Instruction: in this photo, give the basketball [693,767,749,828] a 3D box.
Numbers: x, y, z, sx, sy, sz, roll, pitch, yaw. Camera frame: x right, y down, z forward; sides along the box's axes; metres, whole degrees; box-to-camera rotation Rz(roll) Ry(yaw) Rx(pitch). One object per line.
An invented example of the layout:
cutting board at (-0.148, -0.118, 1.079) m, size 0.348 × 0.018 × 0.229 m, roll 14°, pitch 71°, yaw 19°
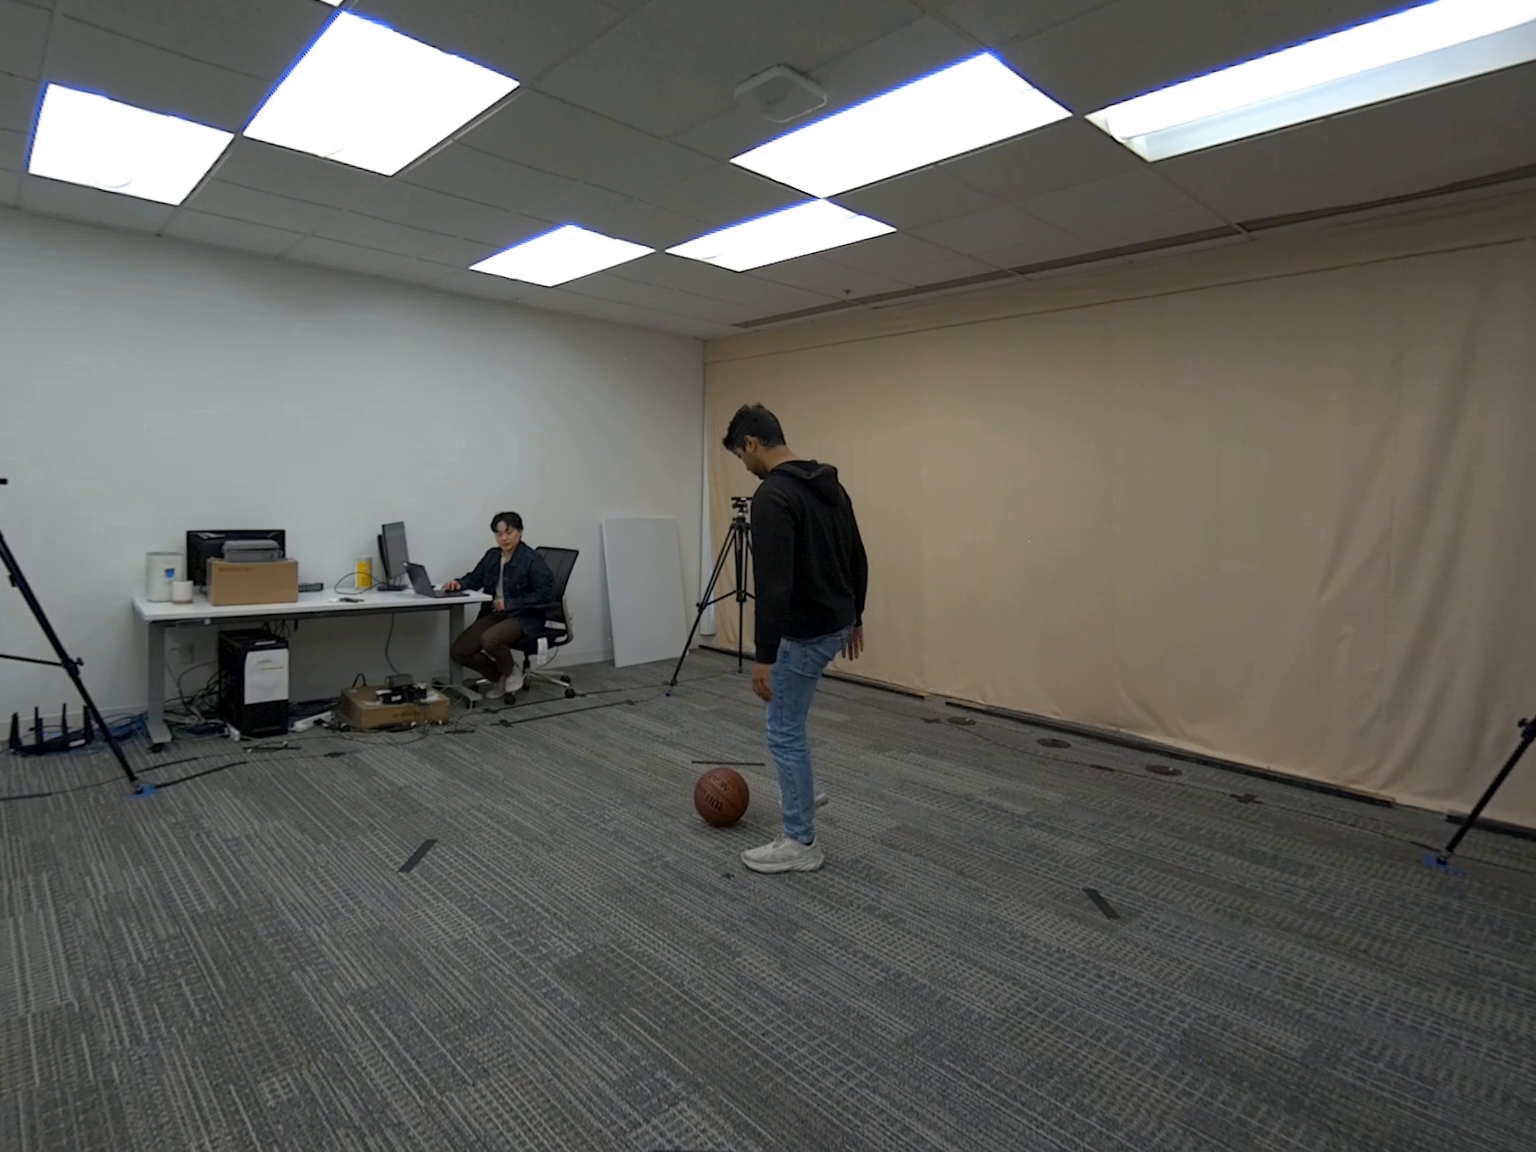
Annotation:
basketball at (-0.208, 0.946, 3.609) m, size 0.236 × 0.235 × 0.237 m, roll 1°, pitch 4°, yaw -1°
